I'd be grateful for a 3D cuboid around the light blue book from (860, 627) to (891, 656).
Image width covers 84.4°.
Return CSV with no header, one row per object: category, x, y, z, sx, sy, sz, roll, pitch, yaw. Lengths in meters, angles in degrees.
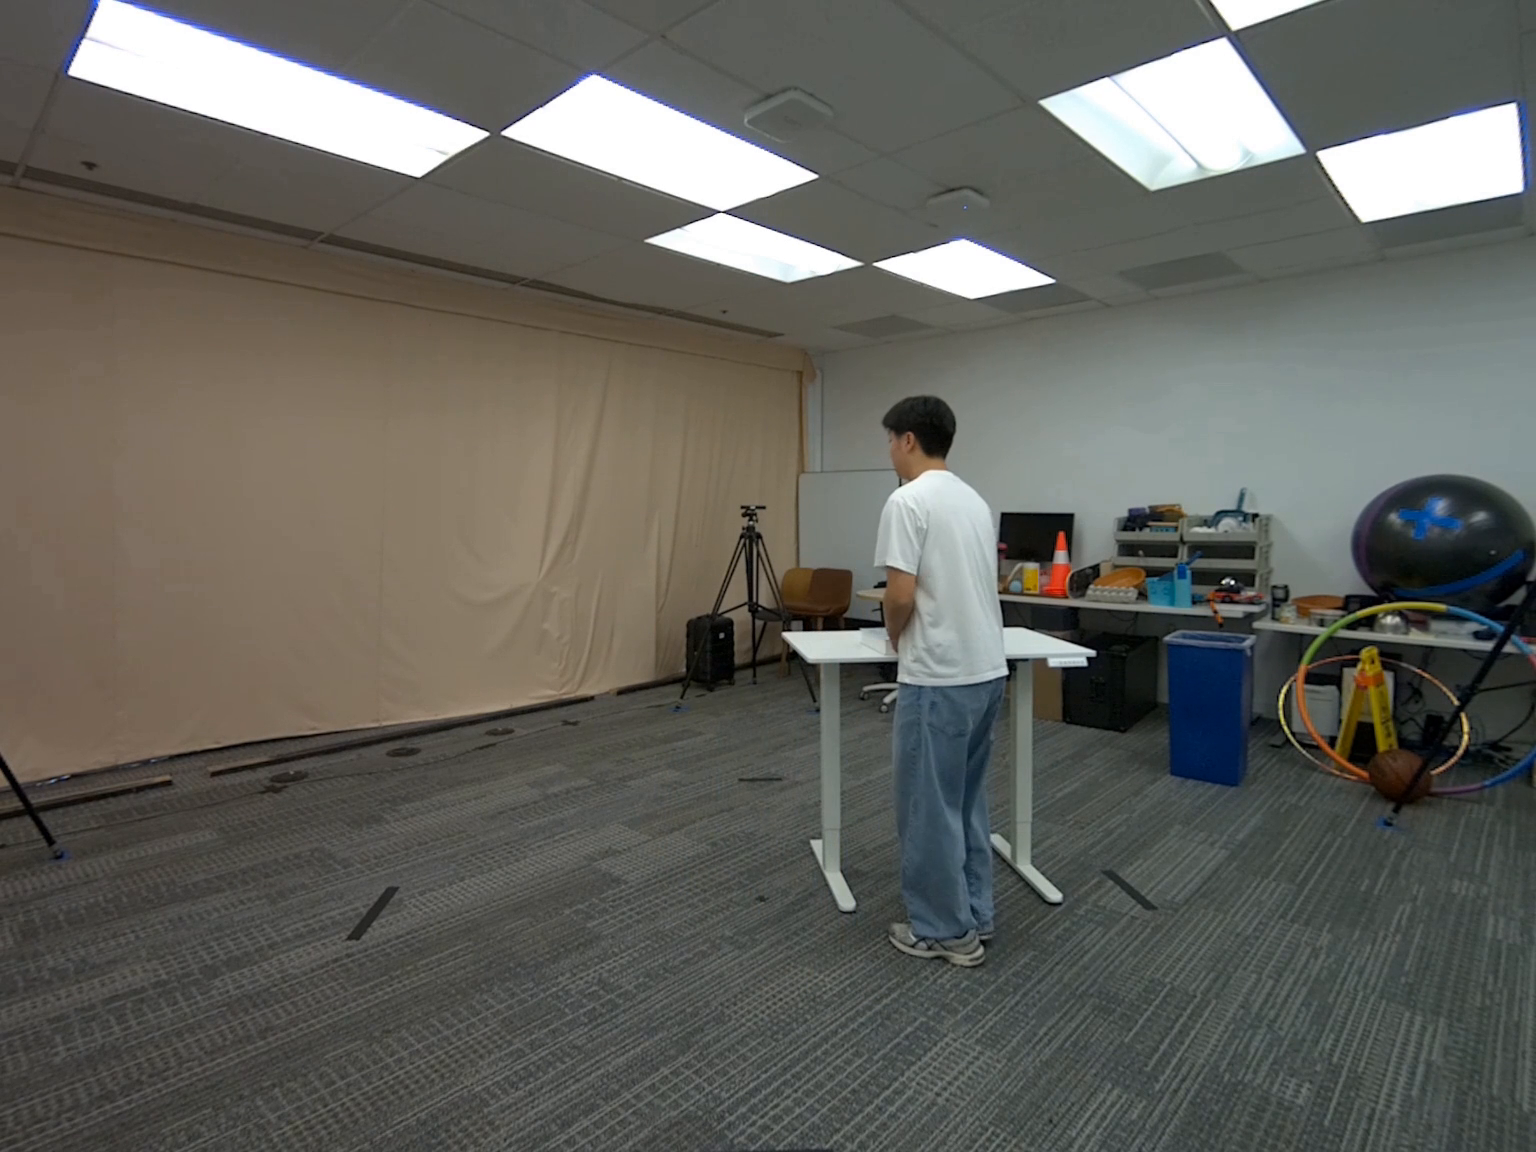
light blue book,0.472,0.239,2.991,0.189,0.059,0.265,-3,5,-12
